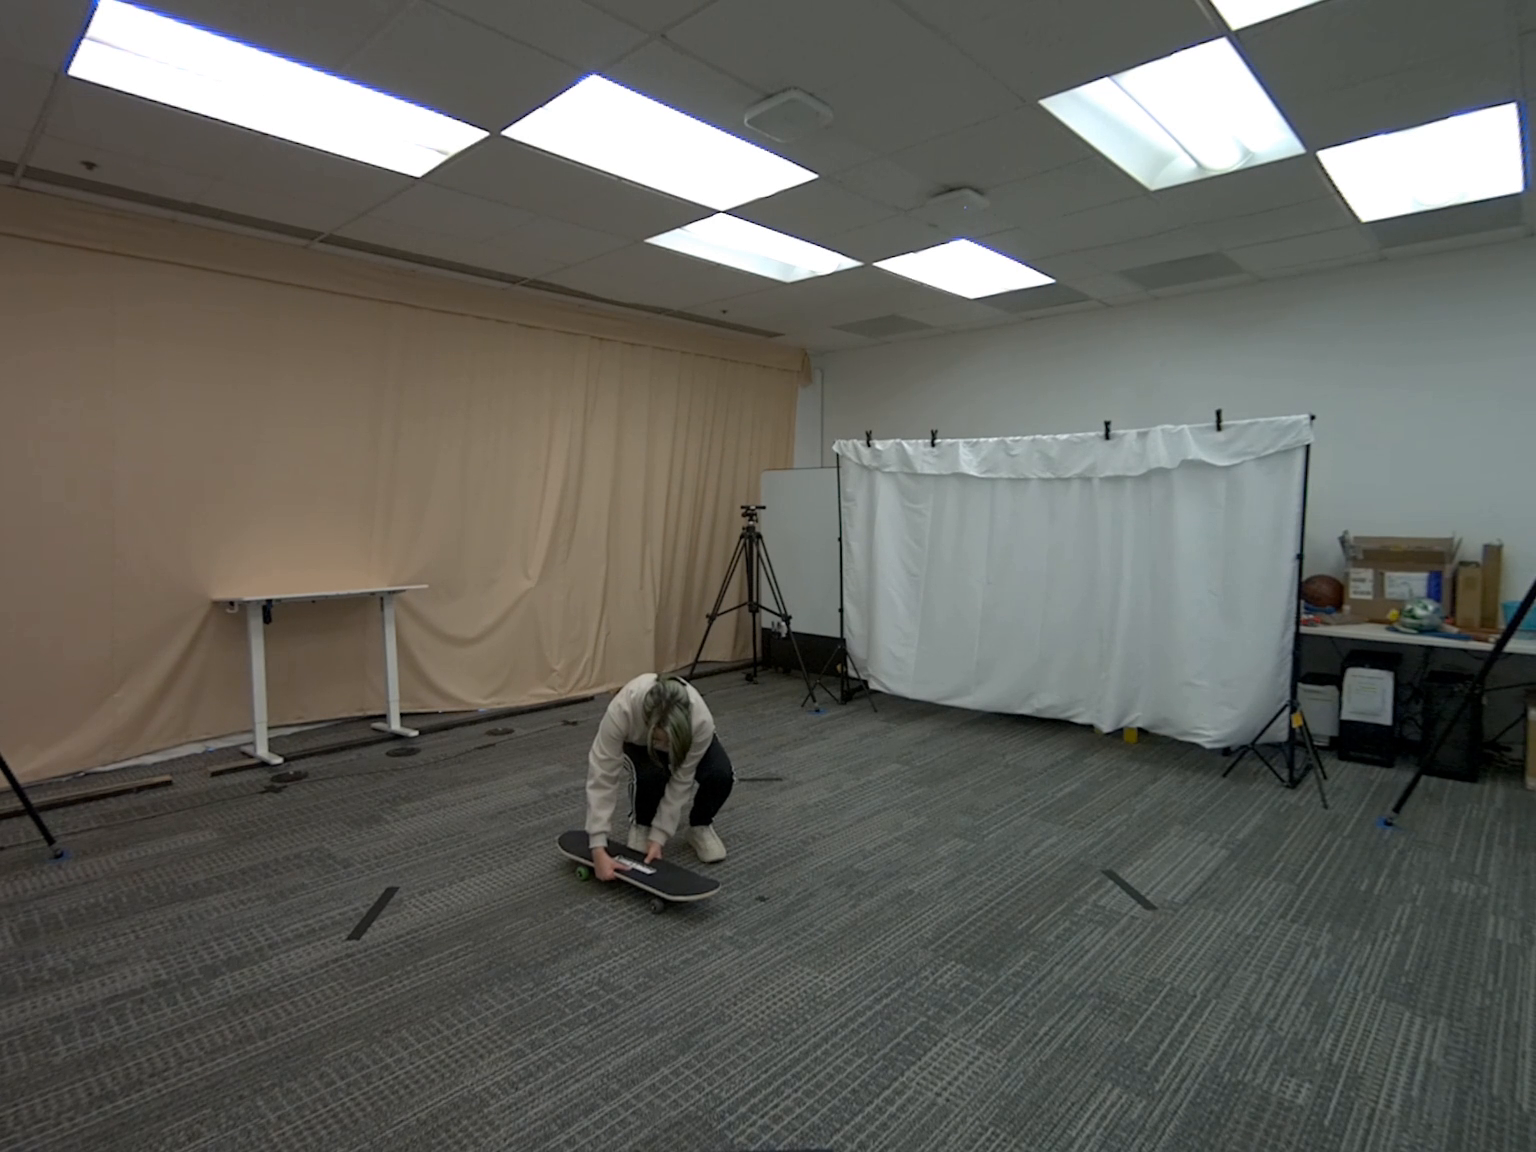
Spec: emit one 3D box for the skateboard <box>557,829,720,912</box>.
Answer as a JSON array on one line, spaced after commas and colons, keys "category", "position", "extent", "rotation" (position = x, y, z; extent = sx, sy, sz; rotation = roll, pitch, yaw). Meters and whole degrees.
[{"category": "skateboard", "position": [-0.485, 1.073, 3.072], "extent": [0.811, 0.110, 0.188], "rotation": [3, 6, 40]}]
